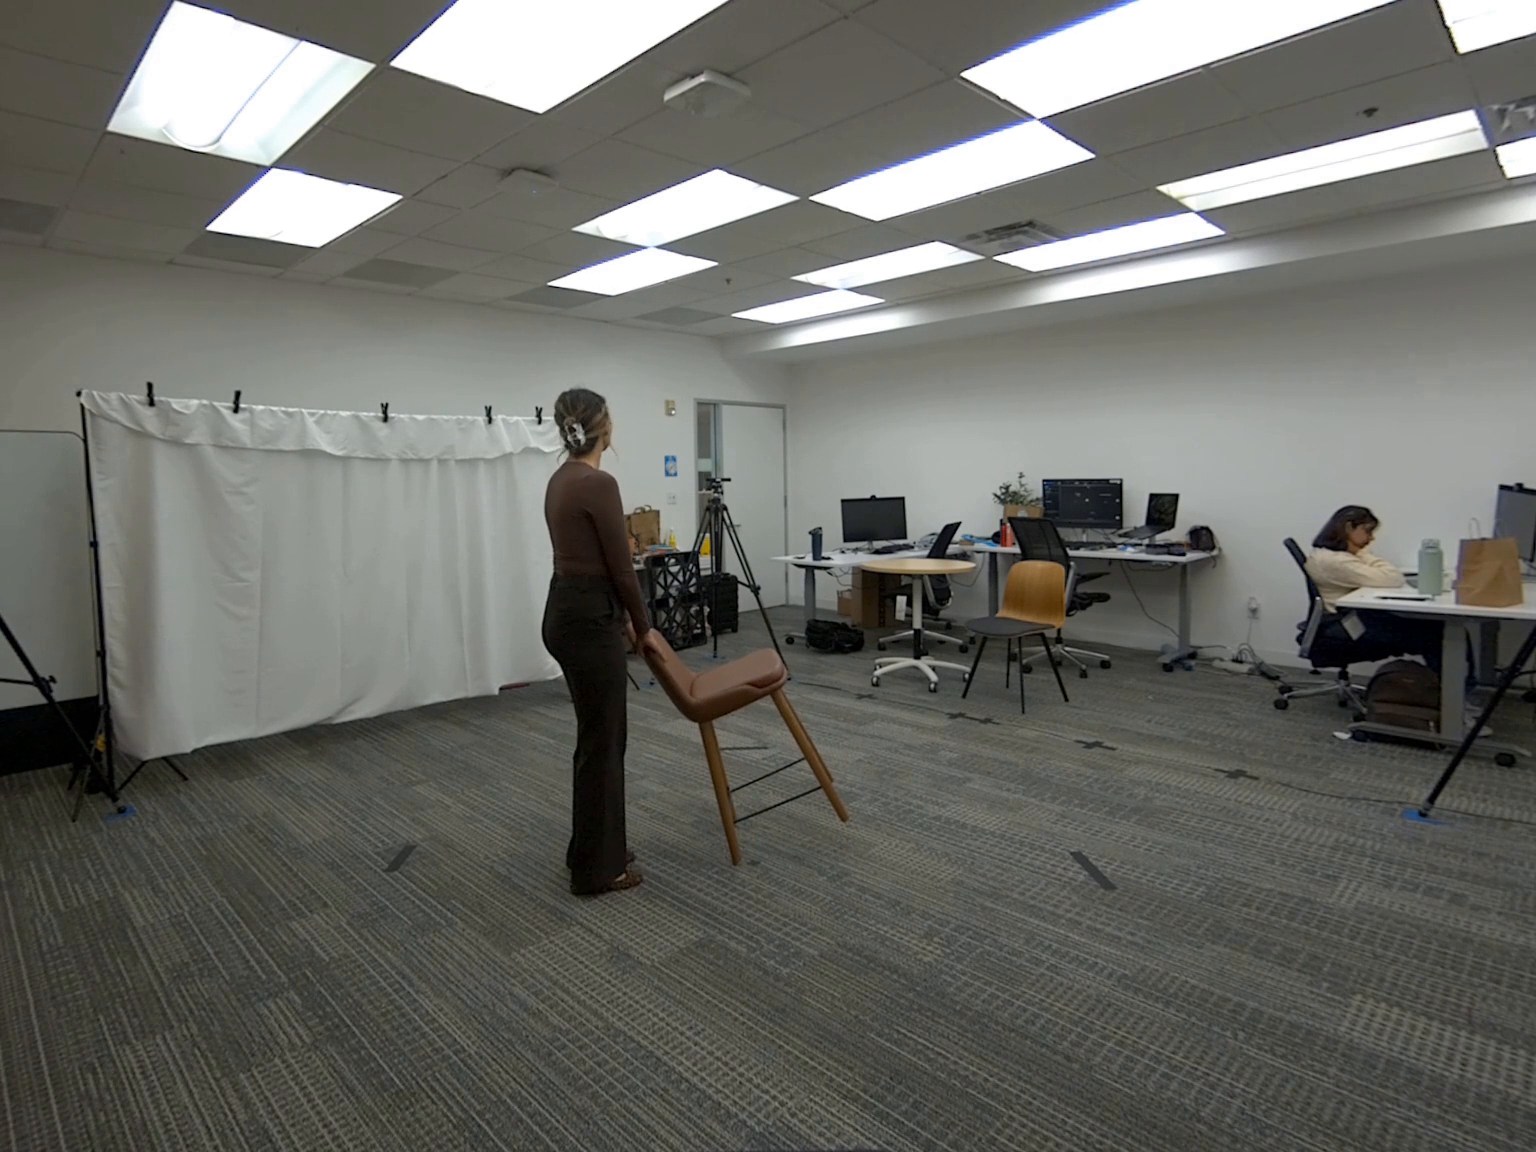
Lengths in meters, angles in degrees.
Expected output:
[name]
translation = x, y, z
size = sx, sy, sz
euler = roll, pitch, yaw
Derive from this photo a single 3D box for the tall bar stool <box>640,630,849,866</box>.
[tall bar stool]
translation = -0.106, 0.544, 3.248
size = 0.468, 0.885, 0.459
euler = -24, 4, 0
